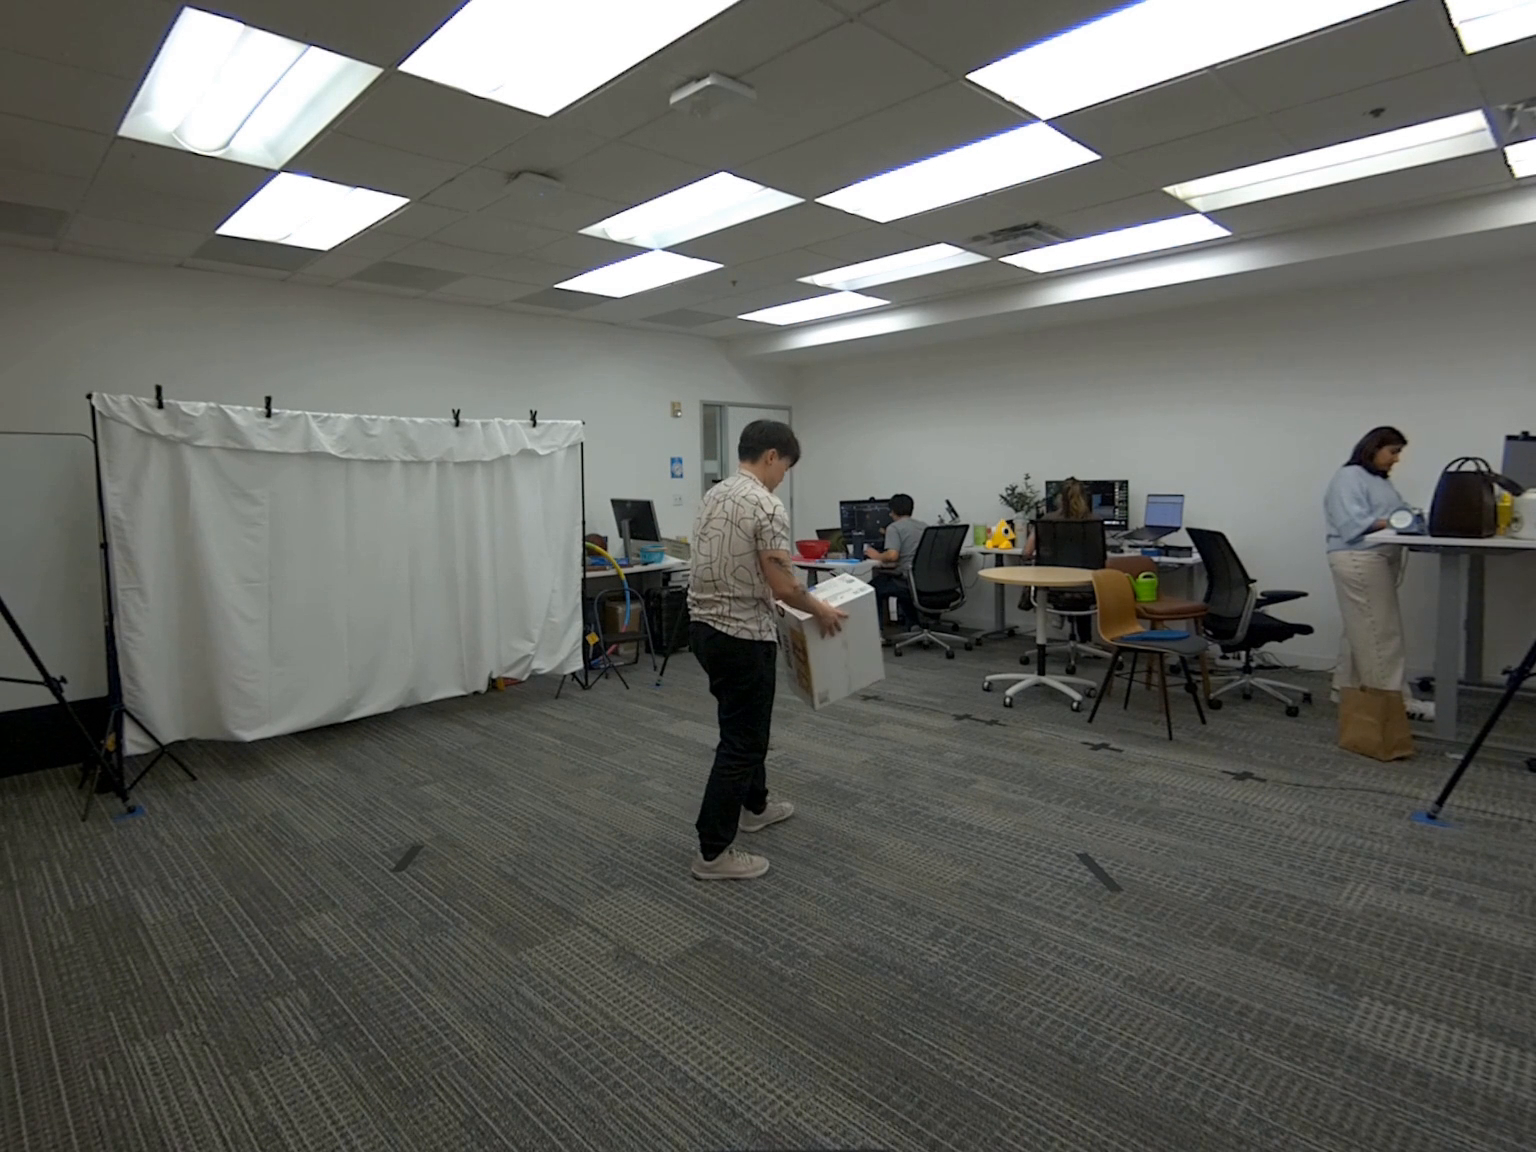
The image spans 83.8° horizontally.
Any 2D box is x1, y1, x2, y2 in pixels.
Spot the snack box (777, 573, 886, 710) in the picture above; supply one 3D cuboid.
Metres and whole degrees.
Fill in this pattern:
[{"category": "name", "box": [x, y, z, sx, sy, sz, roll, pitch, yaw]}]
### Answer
[{"category": "snack box", "box": [0.252, 0.257, 3.368, 0.336, 0.396, 0.213, -21, 26, -23]}]
